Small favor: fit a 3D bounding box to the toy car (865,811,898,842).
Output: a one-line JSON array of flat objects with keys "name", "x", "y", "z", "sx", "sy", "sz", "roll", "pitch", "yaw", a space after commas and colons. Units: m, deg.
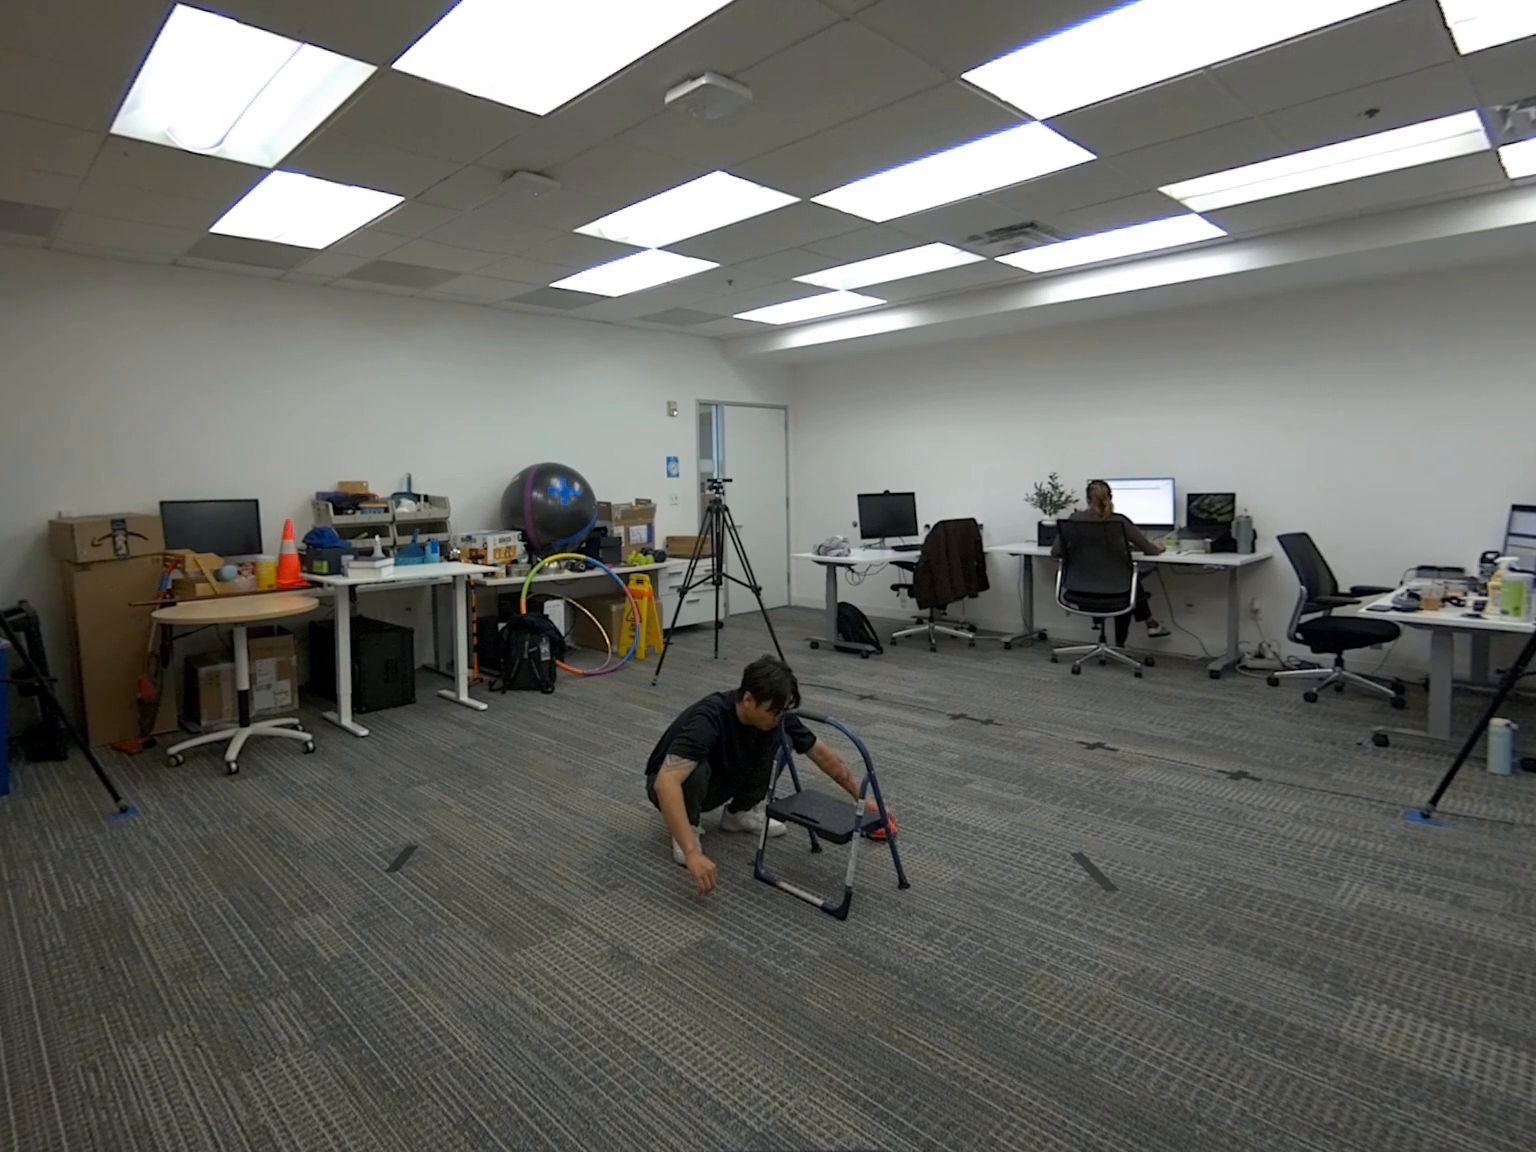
[{"name": "toy car", "x": 0.424, "y": 0.976, "z": 3.362, "sx": 0.131, "sy": 0.083, "sz": 0.252, "roll": 1, "pitch": -4, "yaw": 3}]
